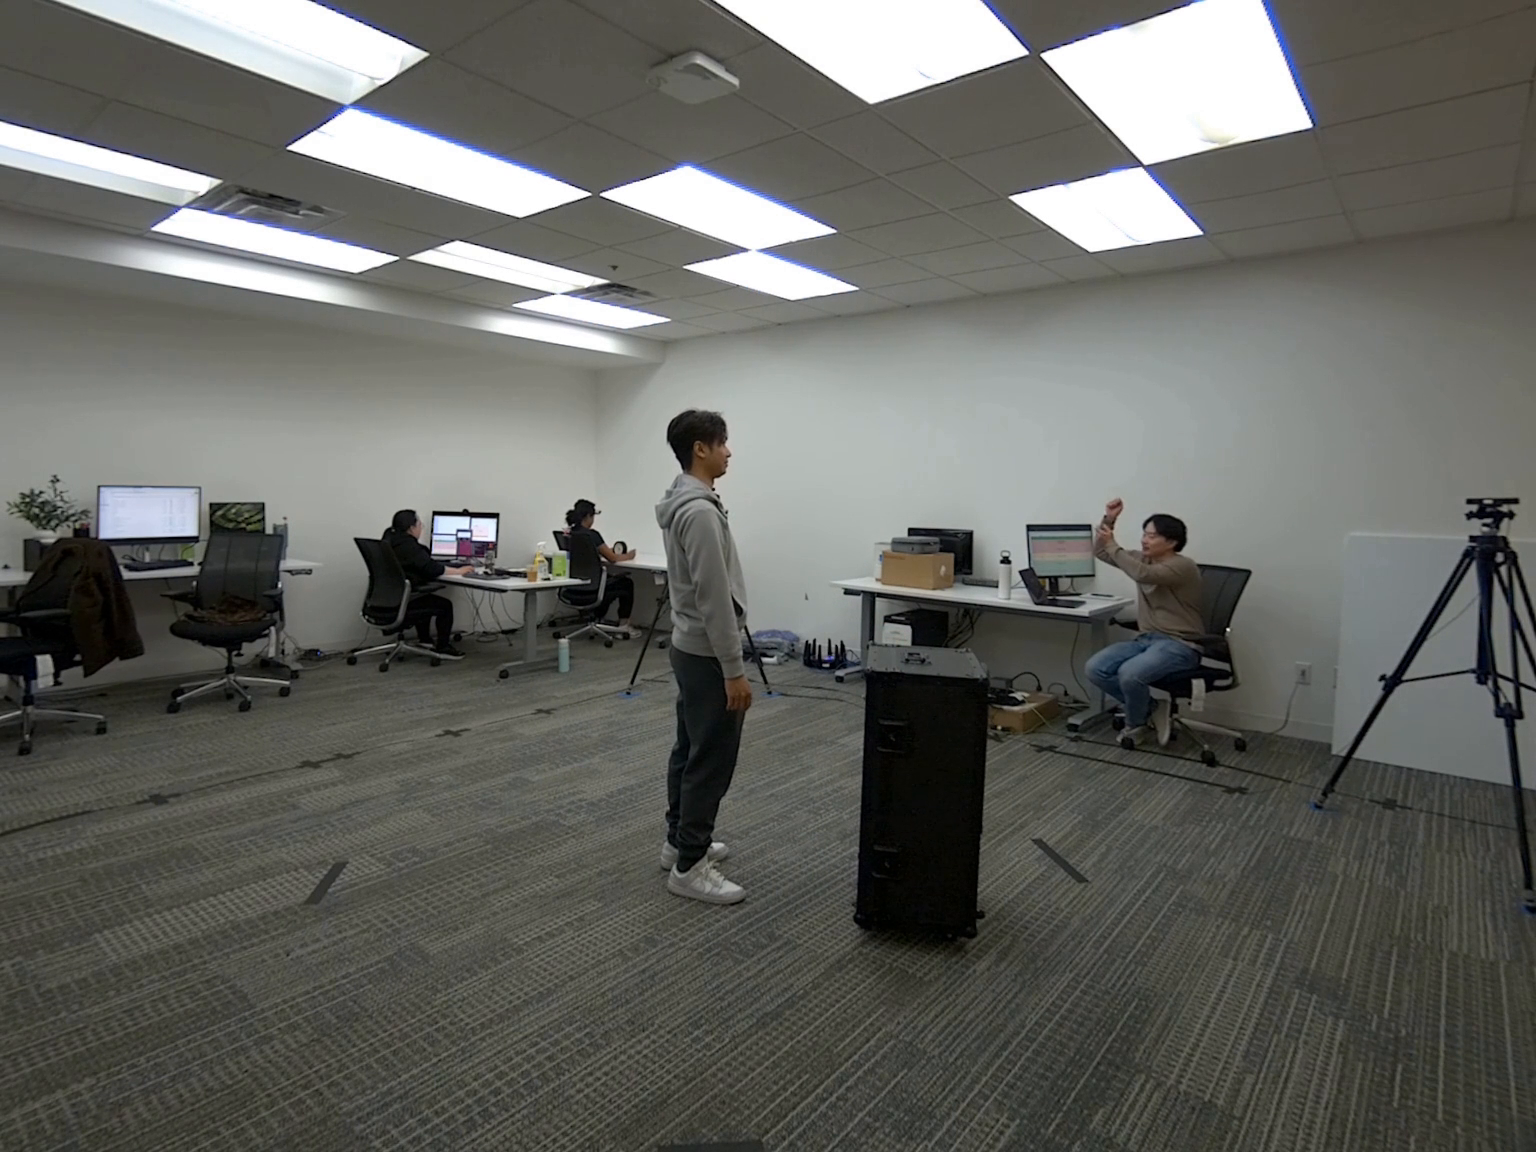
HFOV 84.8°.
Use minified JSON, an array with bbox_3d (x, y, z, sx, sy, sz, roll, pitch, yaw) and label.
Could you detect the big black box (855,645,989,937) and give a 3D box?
[{"bbox_3d":[0.496,0.694,2.769,0.401,0.858,0.517,2,4,10],"label":"big black box"}]
